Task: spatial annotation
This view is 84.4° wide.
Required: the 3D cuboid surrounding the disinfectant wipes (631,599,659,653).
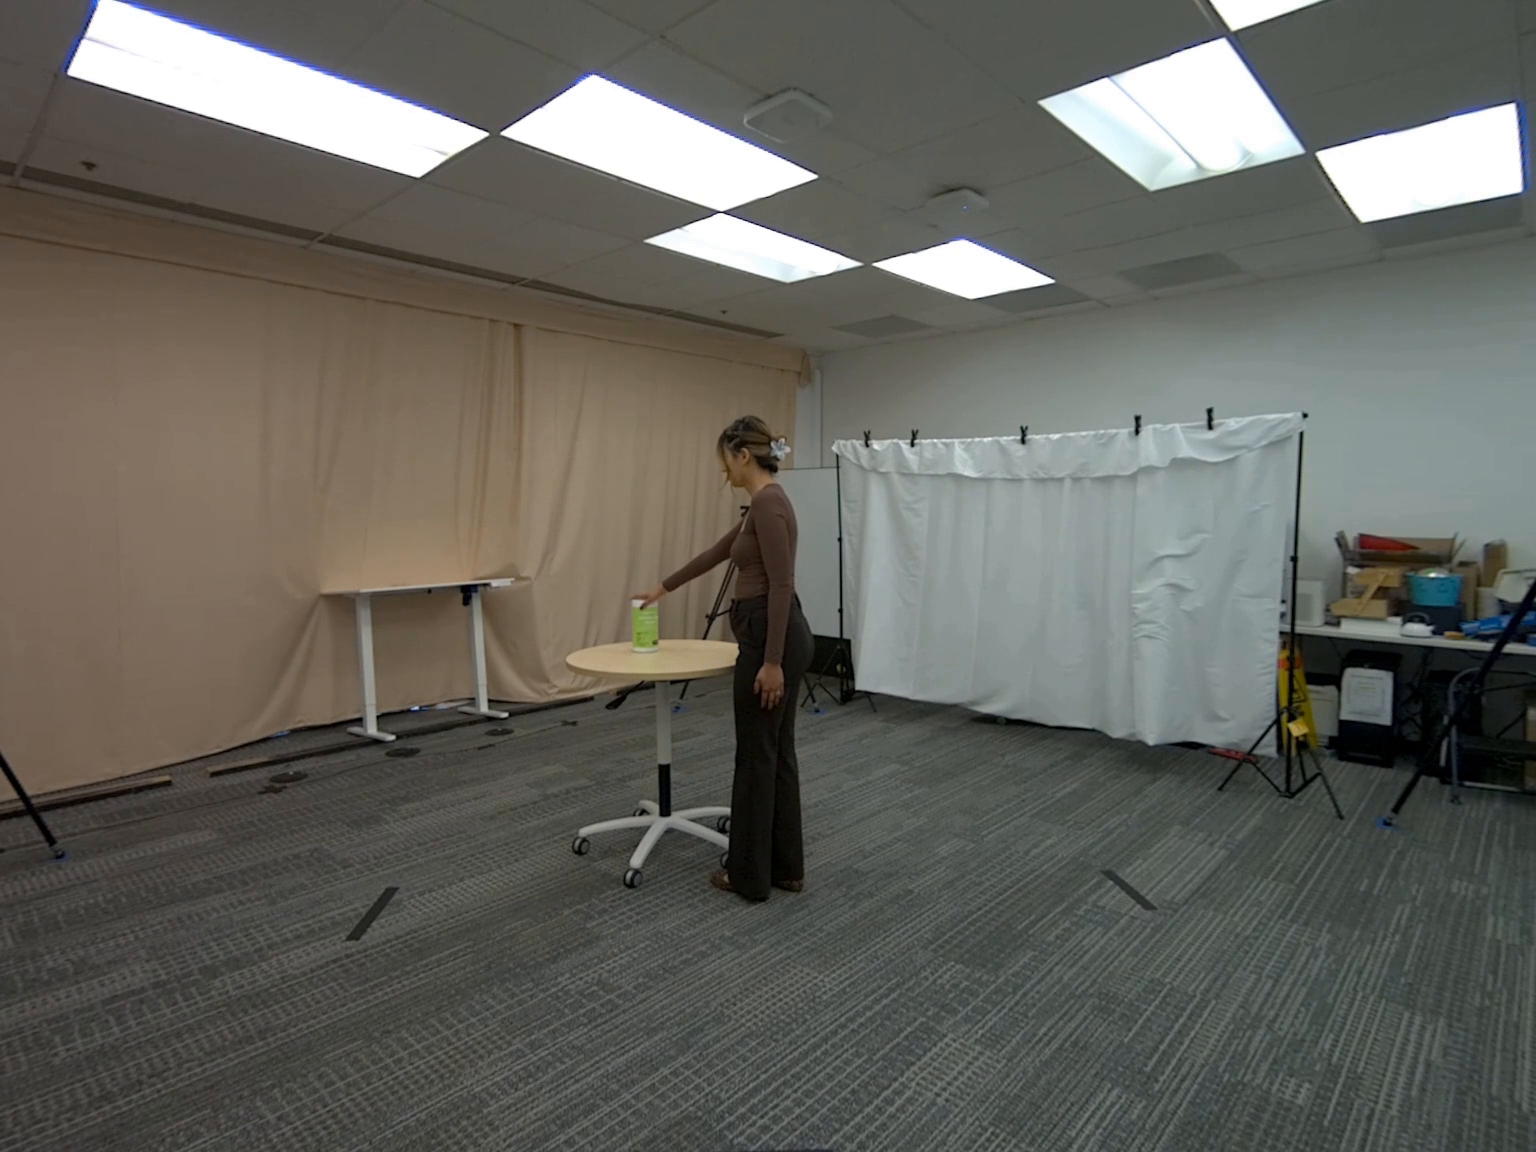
[{"bbox_3d":[-0.510,0.203,3.485,0.117,0.217,0.118,2,5,-2],"label":"disinfectant wipes"}]
